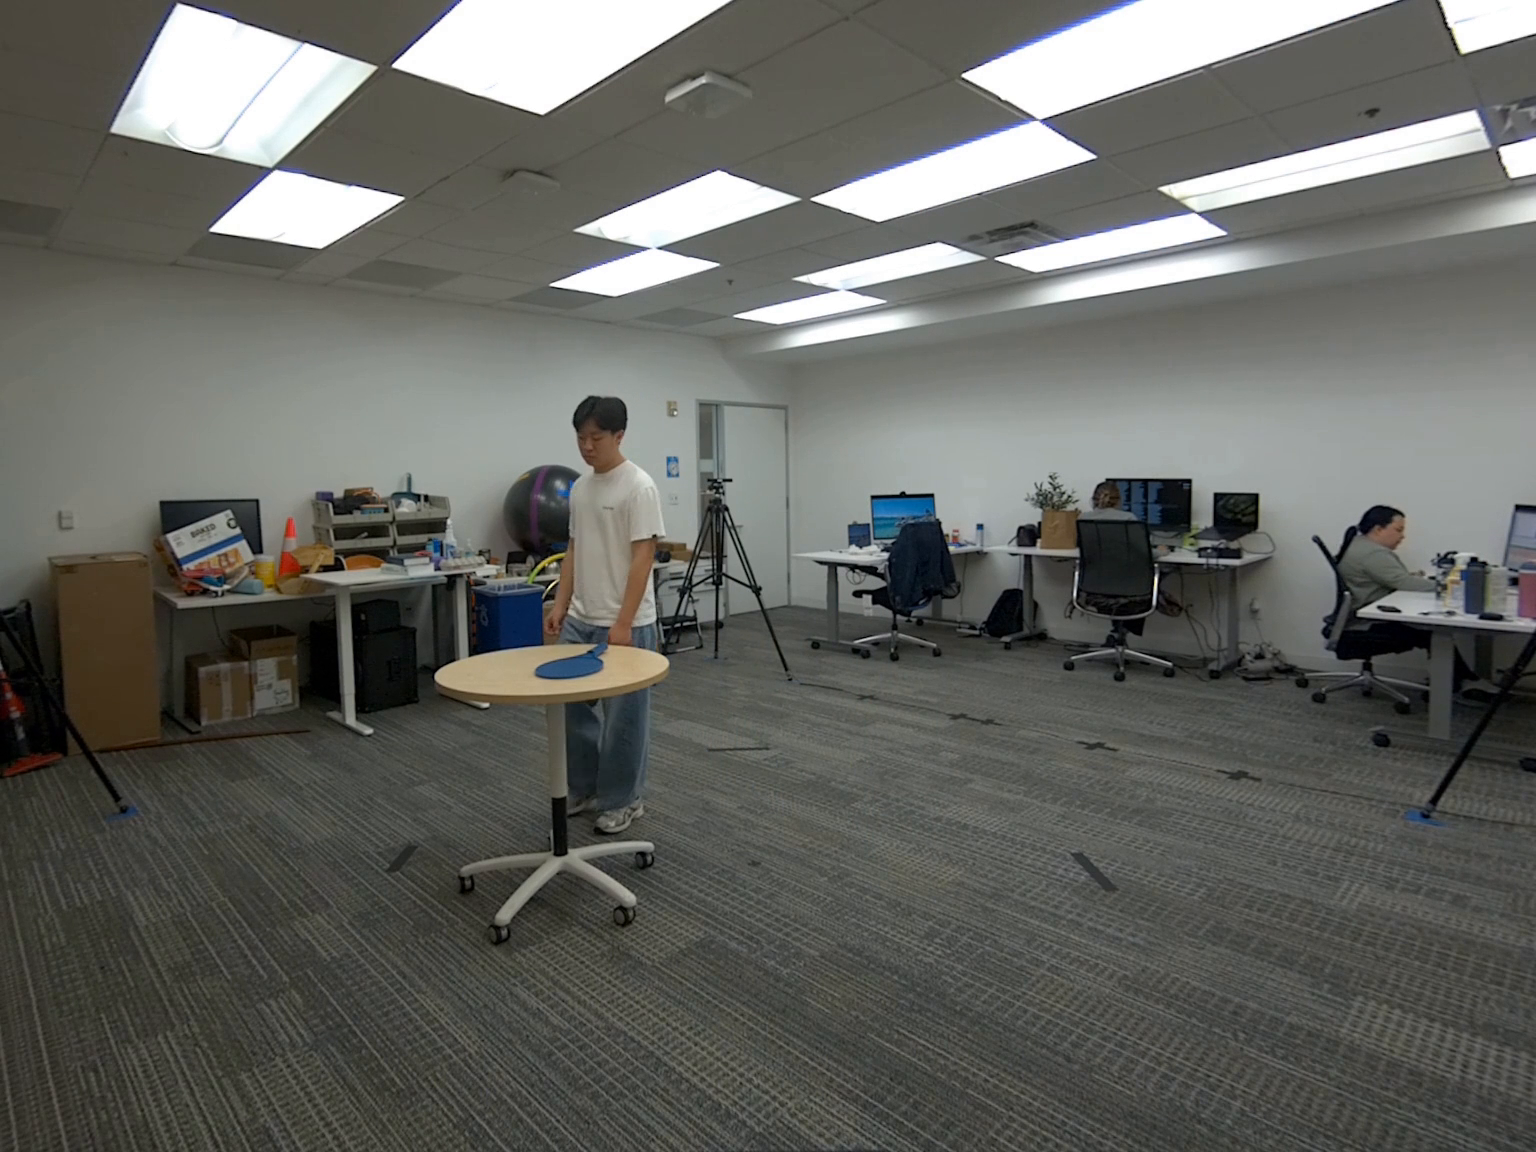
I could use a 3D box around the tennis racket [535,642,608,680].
[{"bbox_3d":[-0.631,0.289,2.877,0.217,0.031,0.429,0,8,13],"label":"tennis racket"}]
